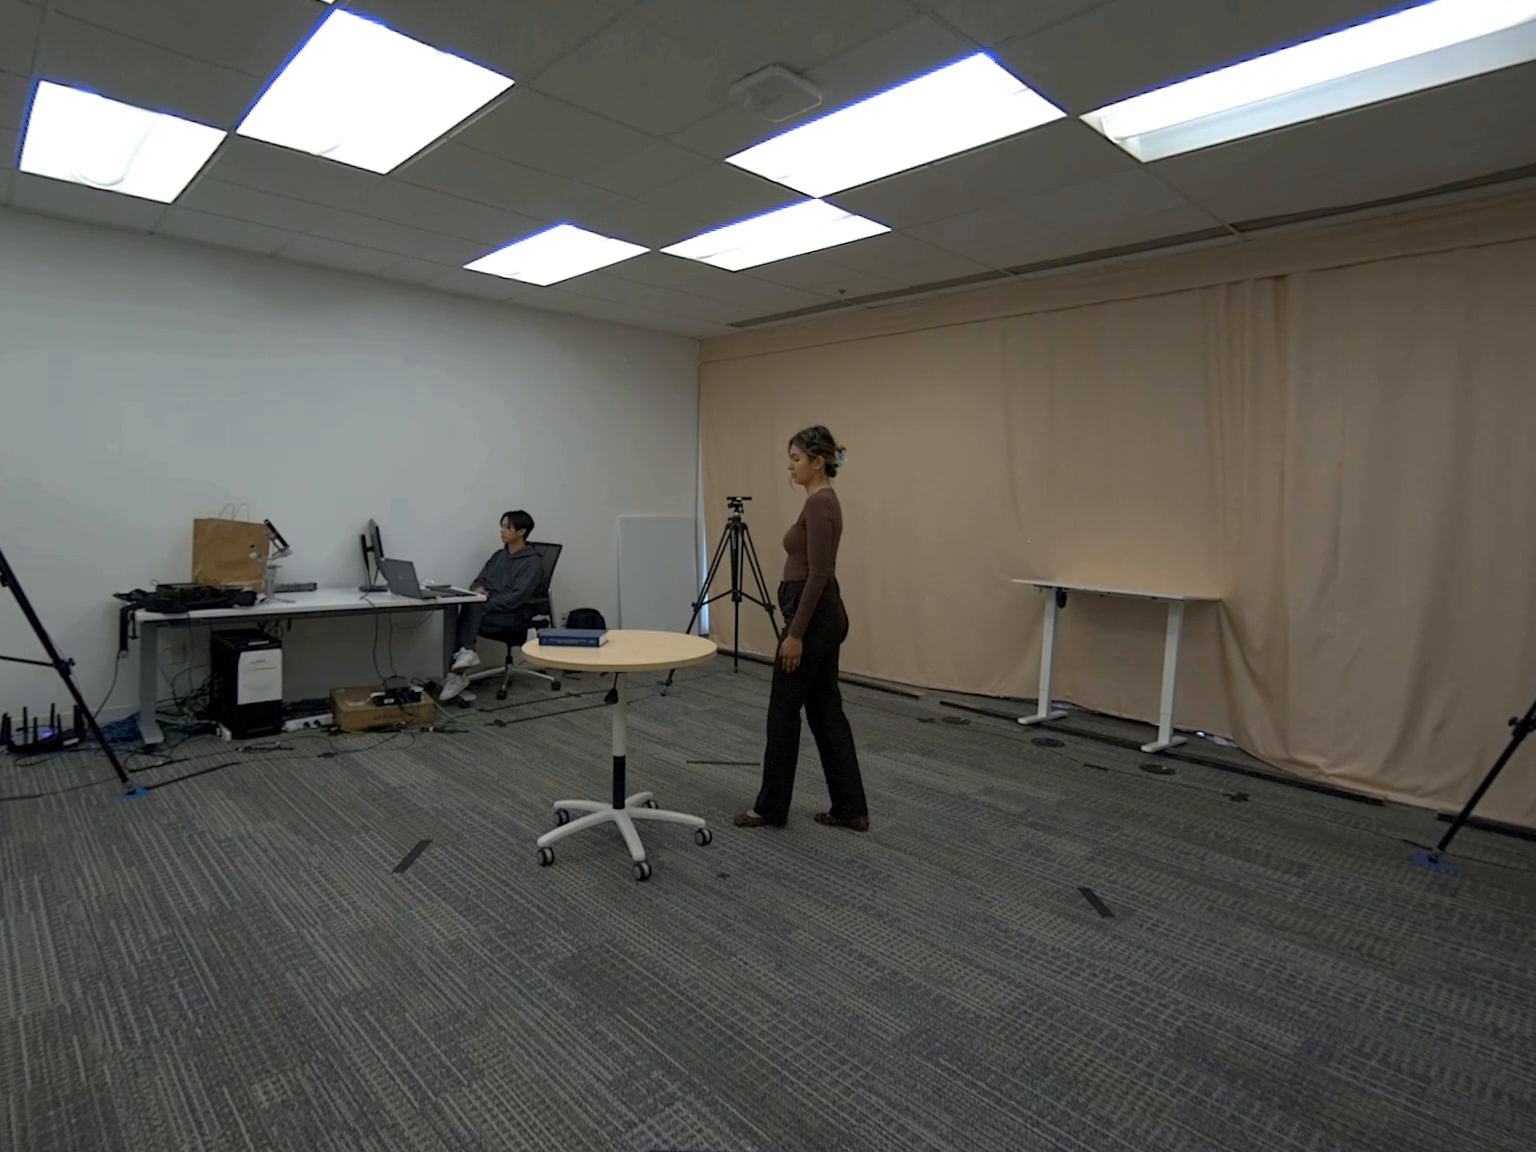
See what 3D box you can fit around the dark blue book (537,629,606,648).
[{"bbox_3d":[-0.790,0.248,3.375,0.246,0.045,0.163,2,5,3],"label":"dark blue book"}]
